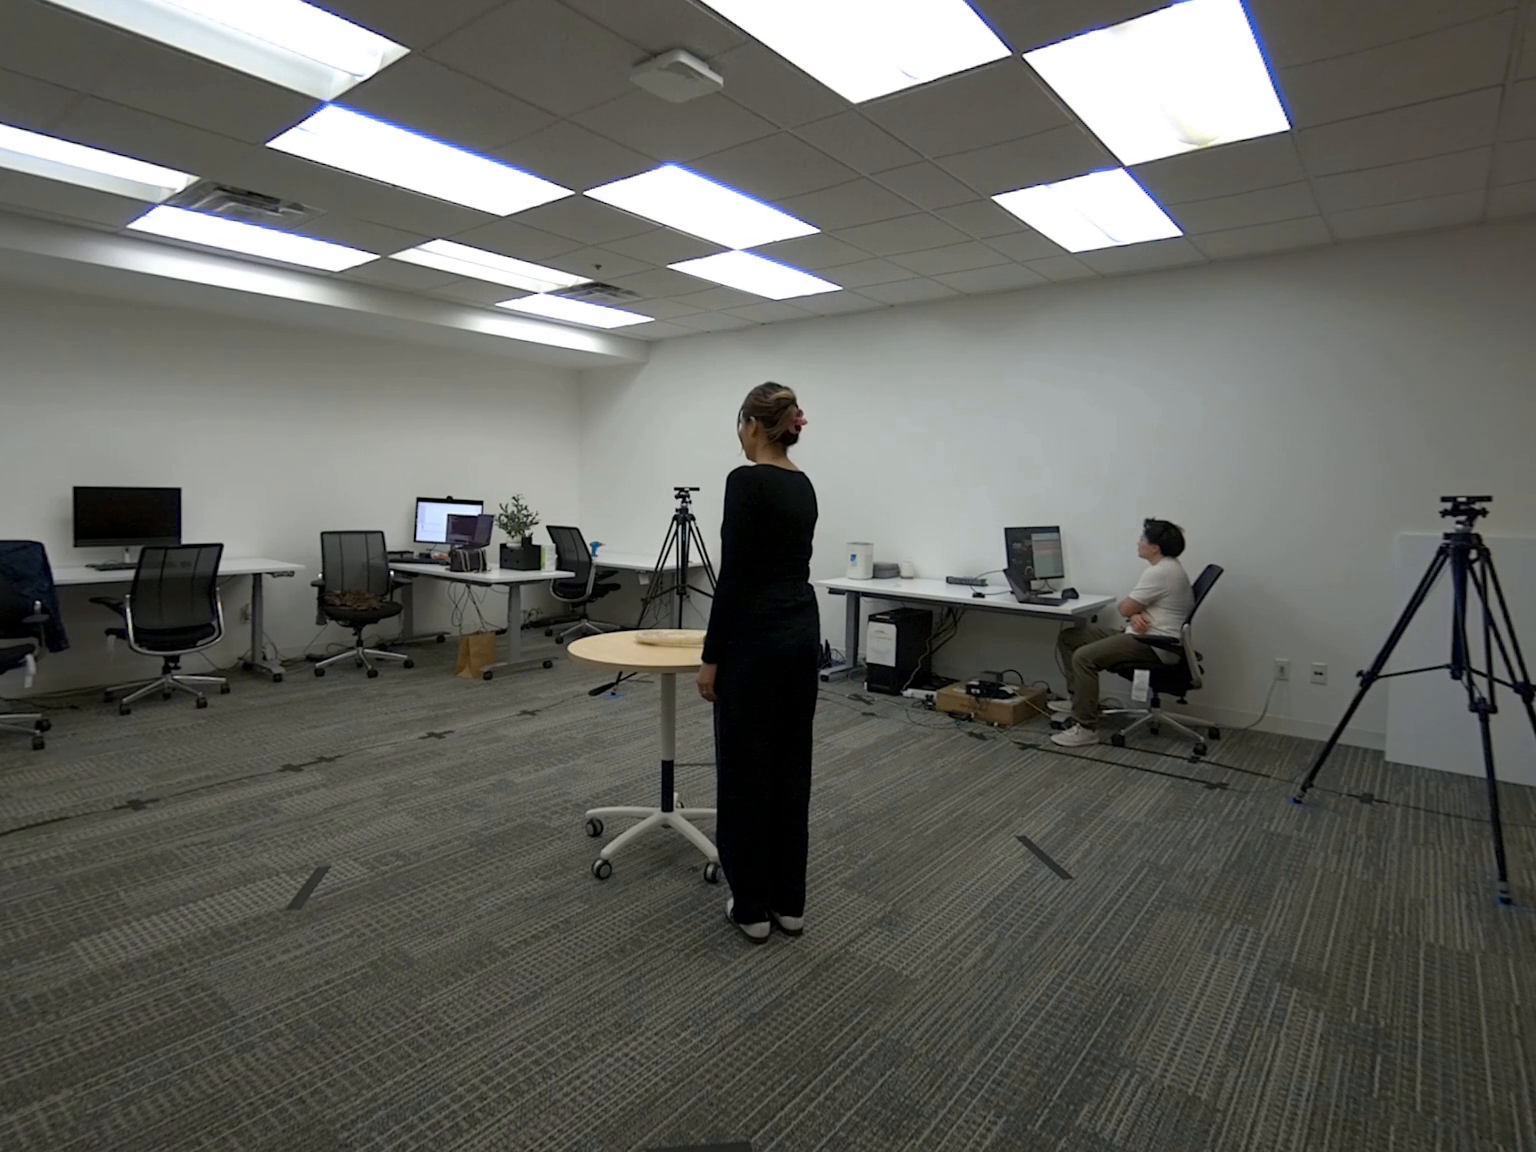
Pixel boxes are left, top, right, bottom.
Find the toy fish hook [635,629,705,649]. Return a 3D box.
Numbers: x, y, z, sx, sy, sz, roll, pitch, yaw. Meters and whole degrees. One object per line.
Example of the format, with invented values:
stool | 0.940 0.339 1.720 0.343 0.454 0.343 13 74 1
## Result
toy fish hook | -0.292 0.239 3.315 0.519 0.048 0.221 1 9 23
